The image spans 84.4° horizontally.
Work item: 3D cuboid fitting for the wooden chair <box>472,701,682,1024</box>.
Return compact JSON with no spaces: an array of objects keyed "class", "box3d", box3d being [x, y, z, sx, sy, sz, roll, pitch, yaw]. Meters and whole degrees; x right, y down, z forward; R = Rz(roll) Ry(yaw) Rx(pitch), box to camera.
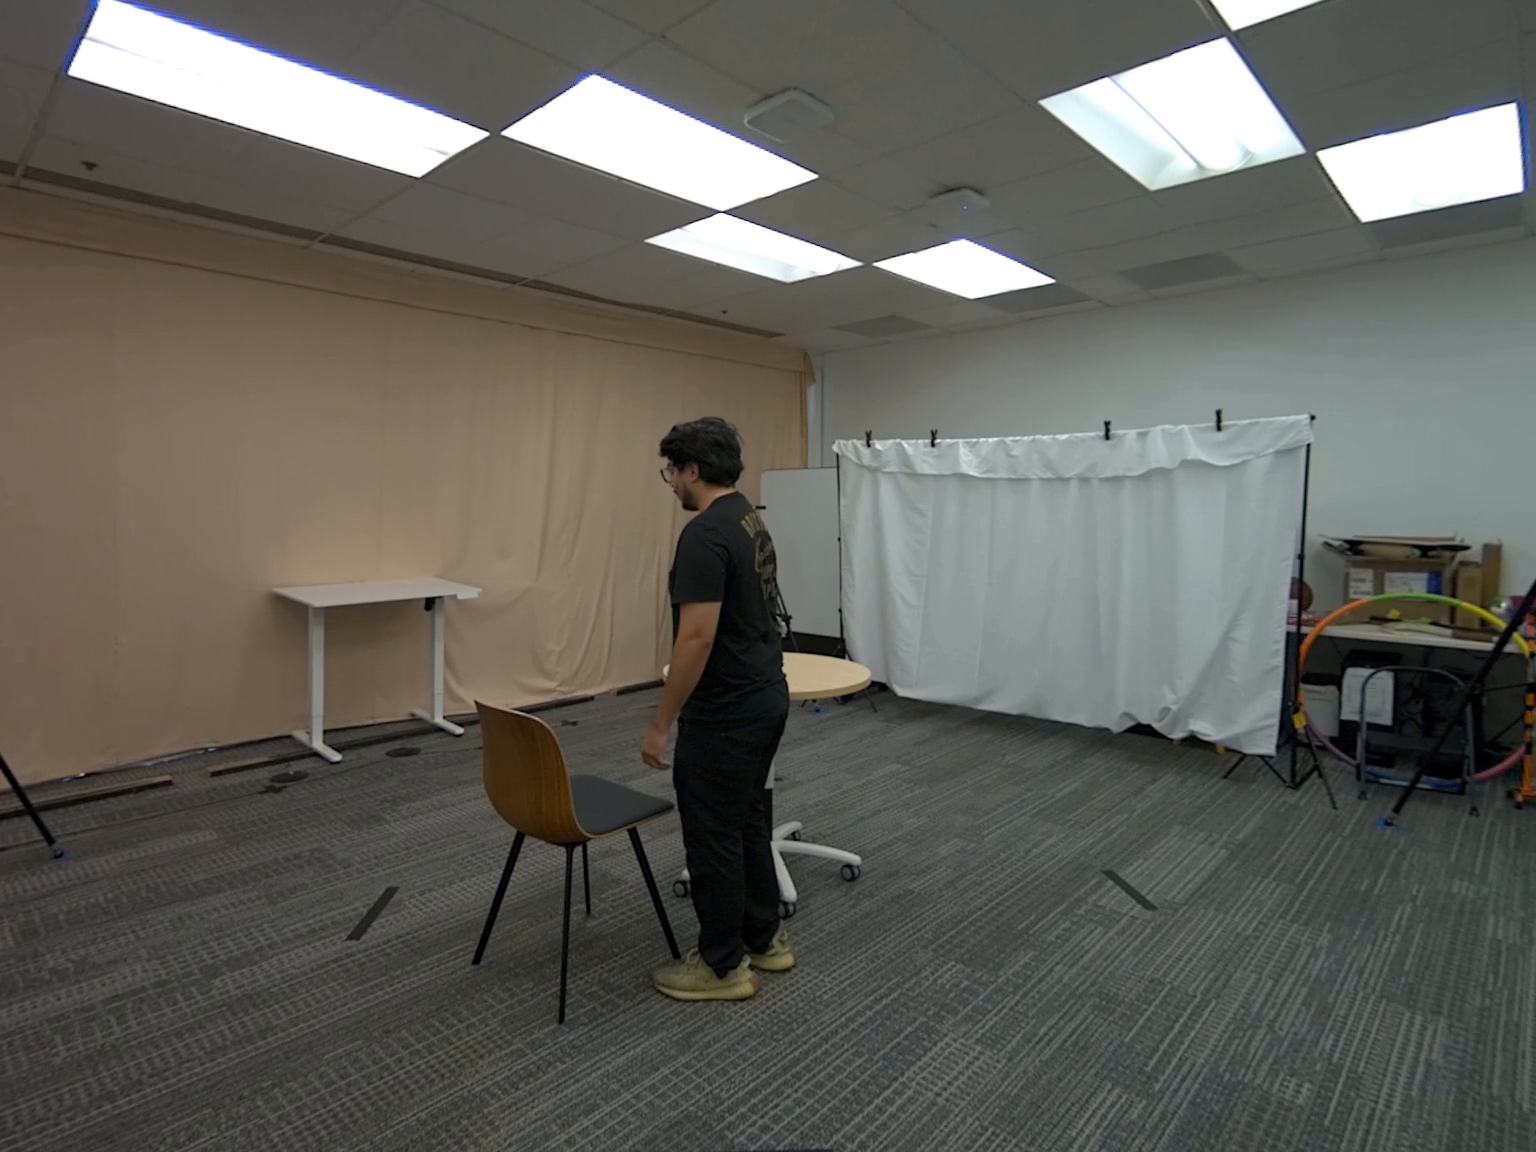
[{"class":"wooden chair","box3d":[-0.582,0.755,2.560,0.494,0.874,0.508,2,8,41]}]
